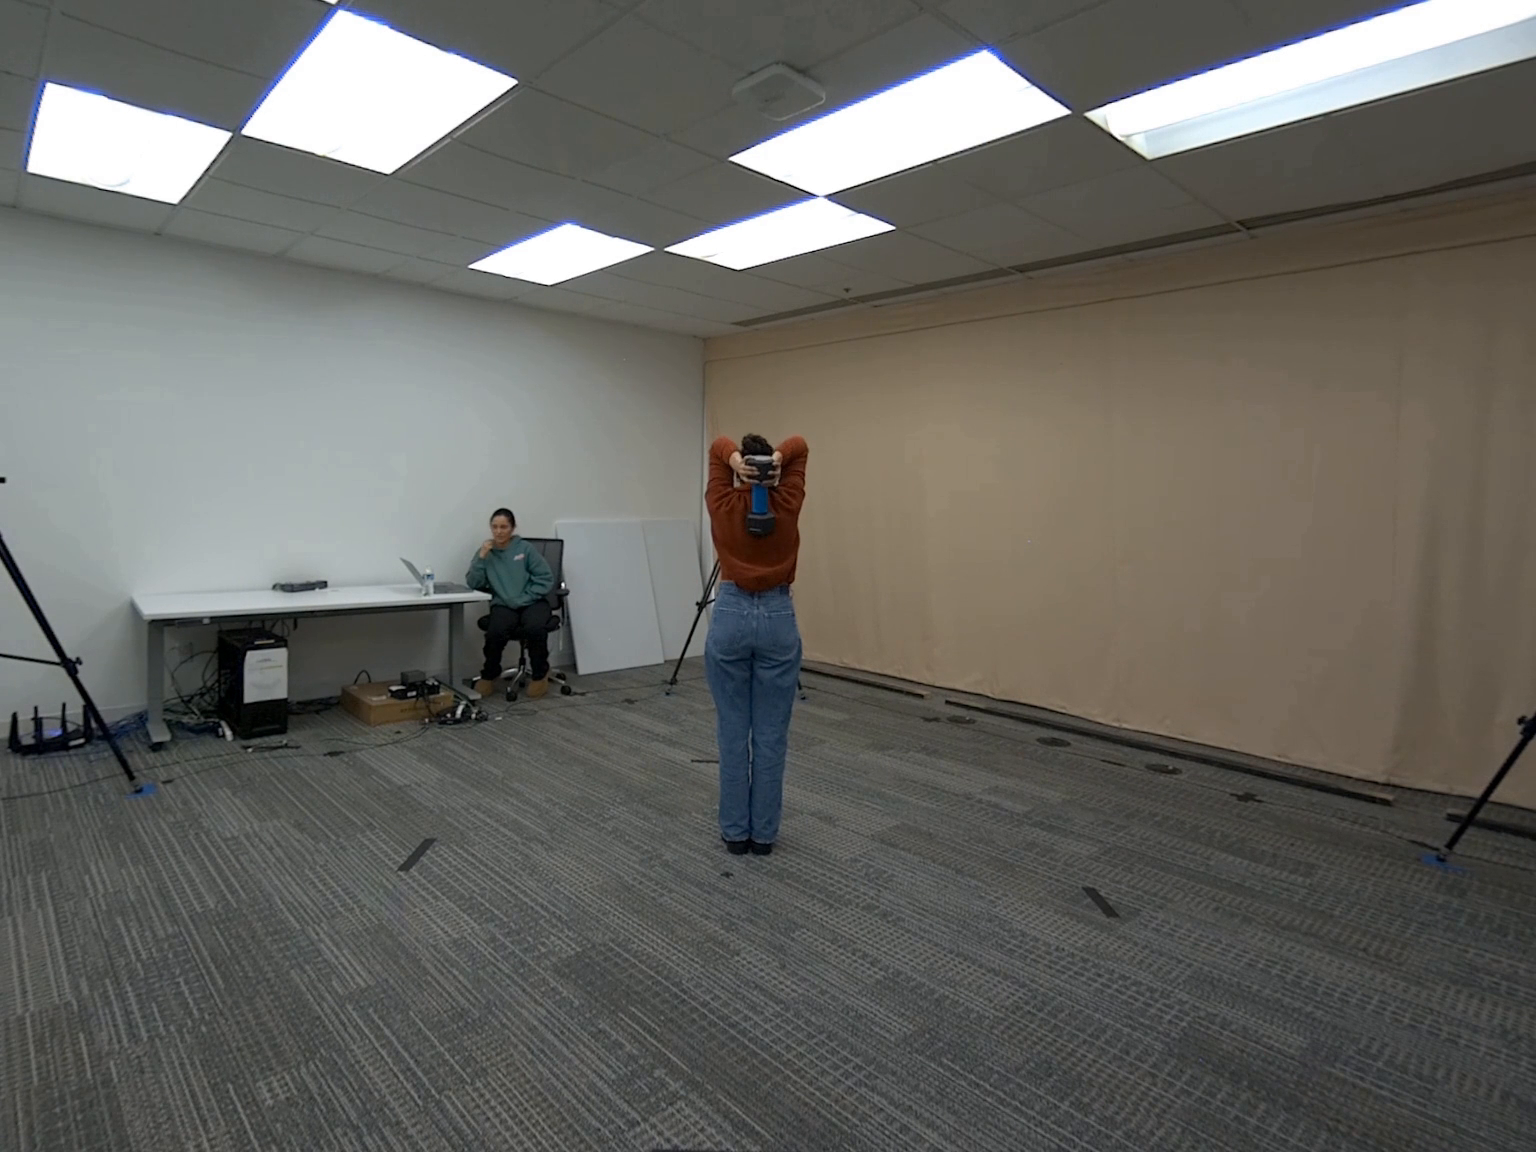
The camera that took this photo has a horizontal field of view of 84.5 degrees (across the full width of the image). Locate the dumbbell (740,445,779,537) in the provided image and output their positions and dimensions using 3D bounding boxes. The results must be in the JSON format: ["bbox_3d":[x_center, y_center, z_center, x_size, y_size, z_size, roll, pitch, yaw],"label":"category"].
[{"bbox_3d":[-0.041,-0.307,3.197,0.108,0.291,0.125,-1,13,-6],"label":"dumbbell"}]
